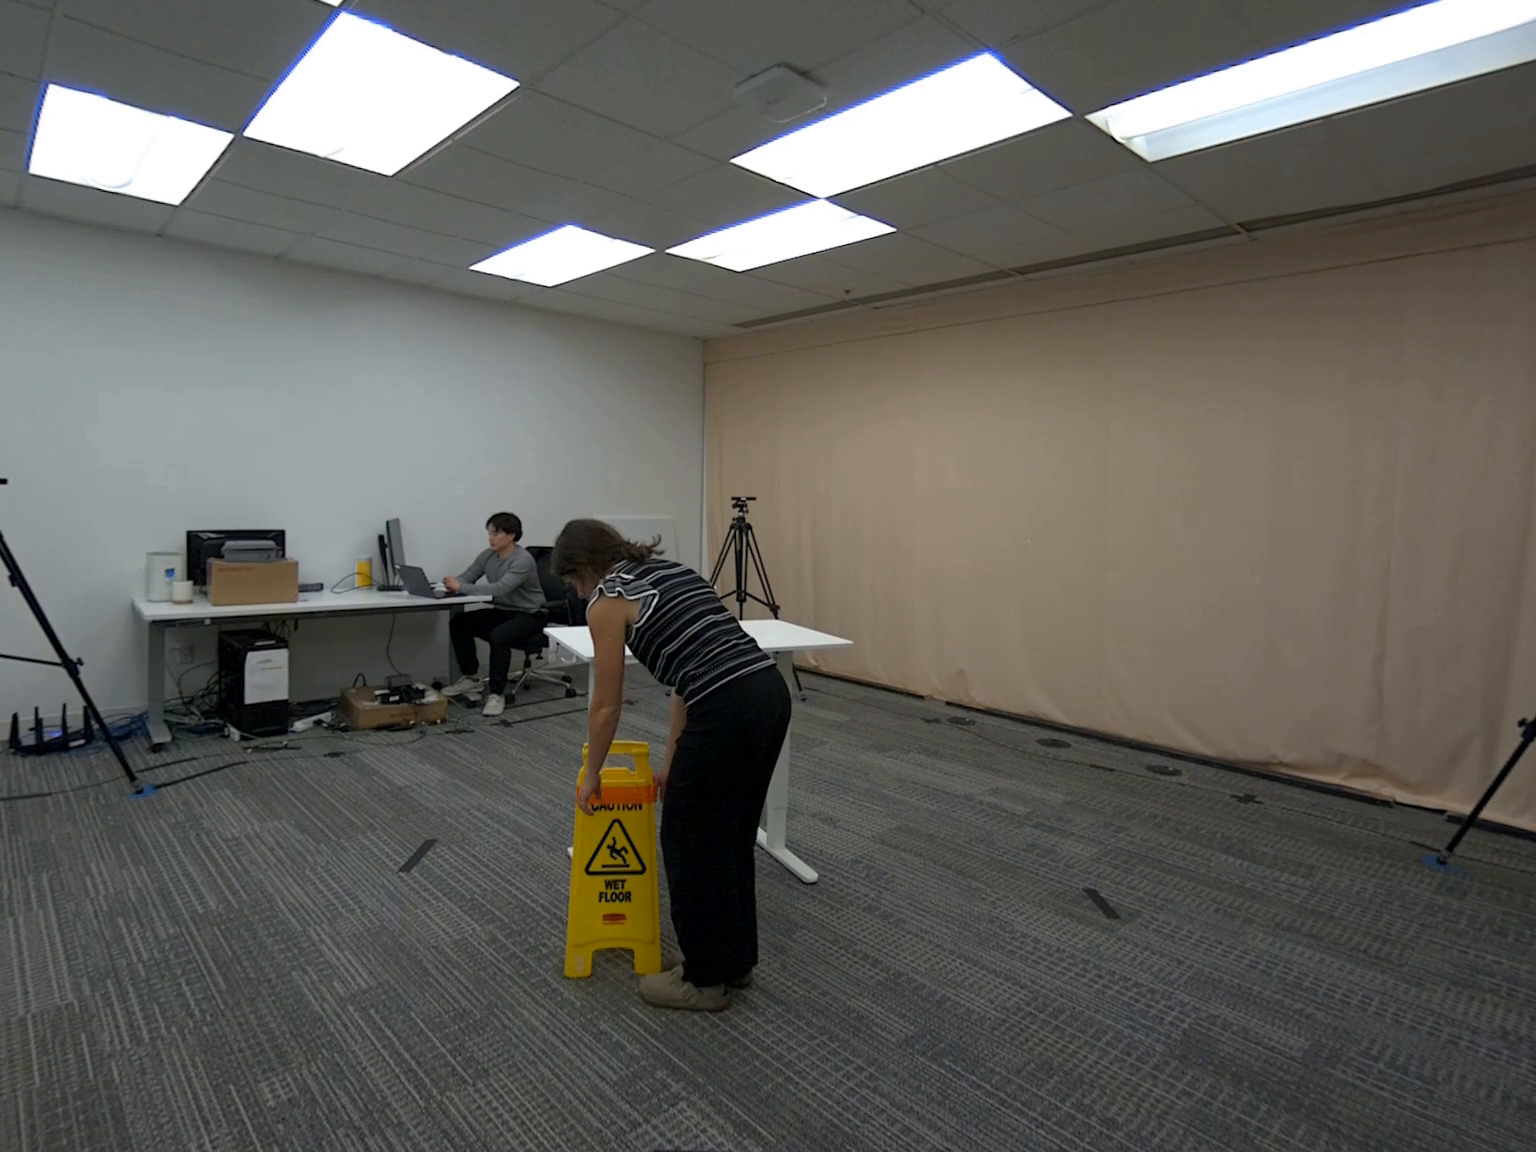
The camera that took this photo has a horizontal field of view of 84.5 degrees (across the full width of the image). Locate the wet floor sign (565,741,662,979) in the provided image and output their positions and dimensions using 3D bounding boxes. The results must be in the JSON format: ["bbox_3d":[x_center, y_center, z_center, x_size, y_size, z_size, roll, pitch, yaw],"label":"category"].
[{"bbox_3d":[-0.471,0.824,2.540,0.280,0.644,0.292,2,4,-8],"label":"wet floor sign"}]
